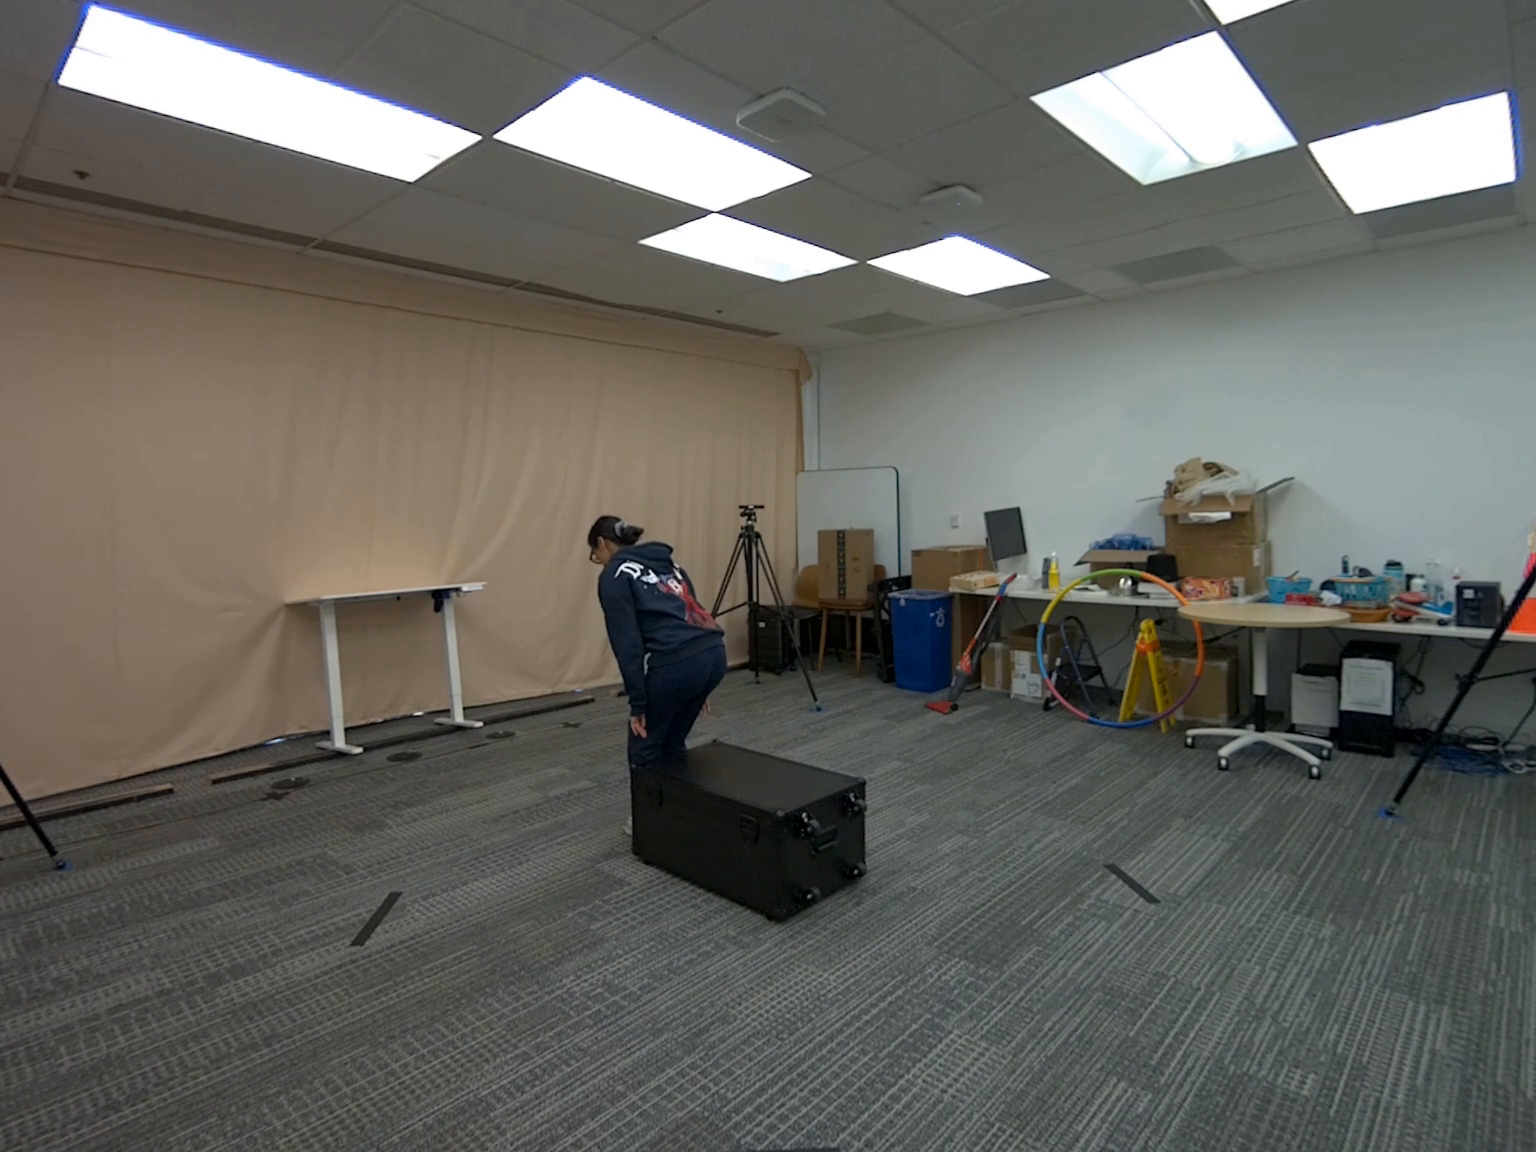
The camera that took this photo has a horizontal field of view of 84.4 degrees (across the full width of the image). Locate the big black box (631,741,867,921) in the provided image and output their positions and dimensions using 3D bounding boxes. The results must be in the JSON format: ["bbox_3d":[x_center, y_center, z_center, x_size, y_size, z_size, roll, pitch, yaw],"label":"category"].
[{"bbox_3d":[-0.064,0.935,3.185,0.890,0.395,0.505,2,5,43],"label":"big black box"}]
